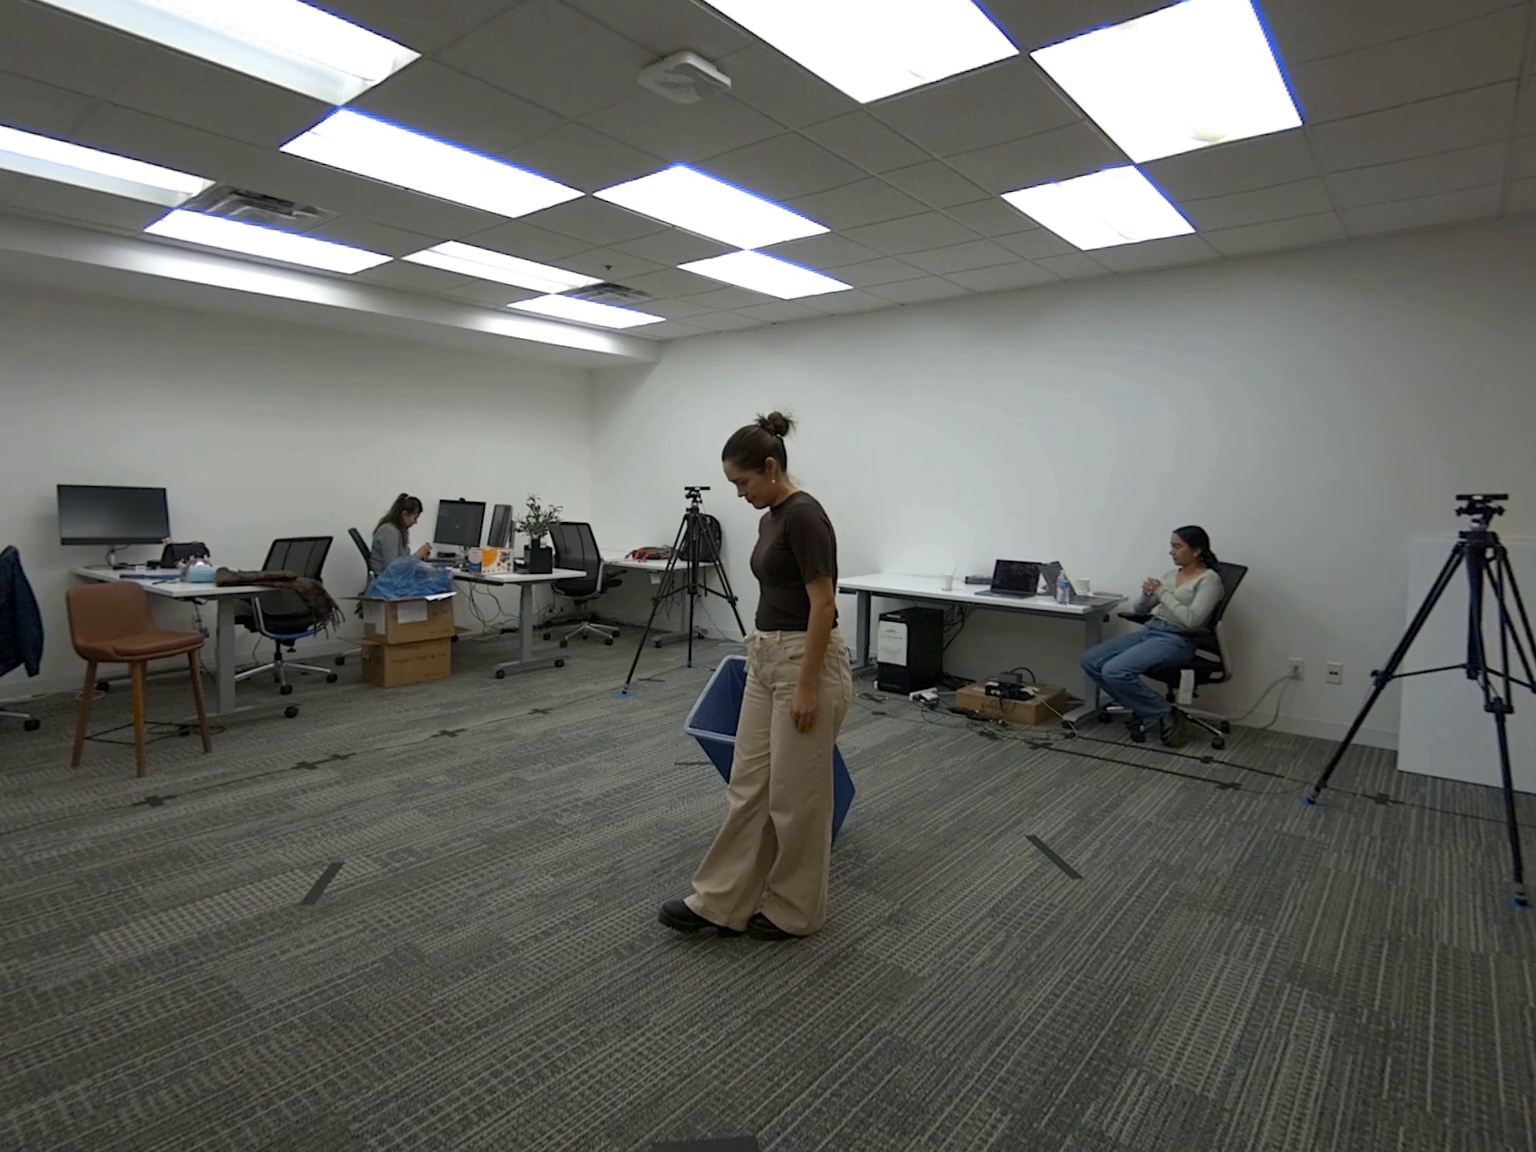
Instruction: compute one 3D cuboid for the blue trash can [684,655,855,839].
[{"bbox_3d":[0.031,0.690,3.208,0.390,0.689,0.375,2,41,36],"label":"blue trash can"}]
